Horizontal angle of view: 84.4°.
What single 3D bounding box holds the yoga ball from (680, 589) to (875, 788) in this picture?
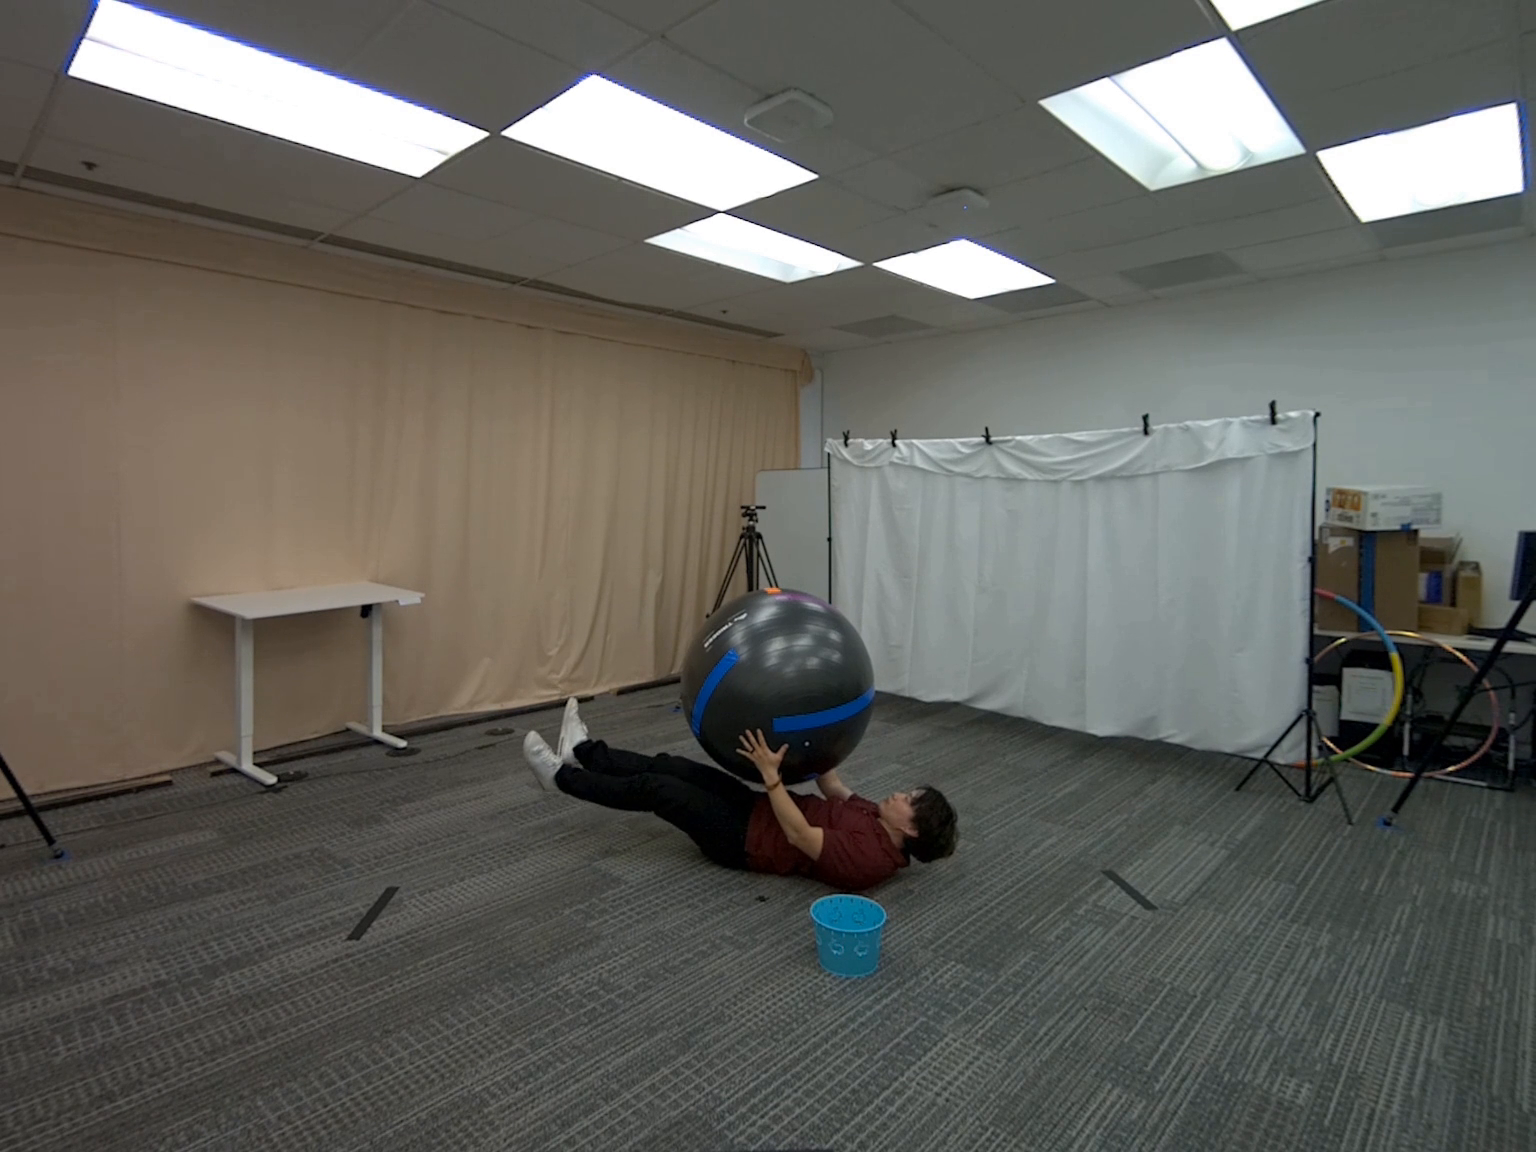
[{"bbox_3d":[0.035,0.431,3.311,0.757,0.756,0.760,0,4,-2],"label":"yoga ball"}]
